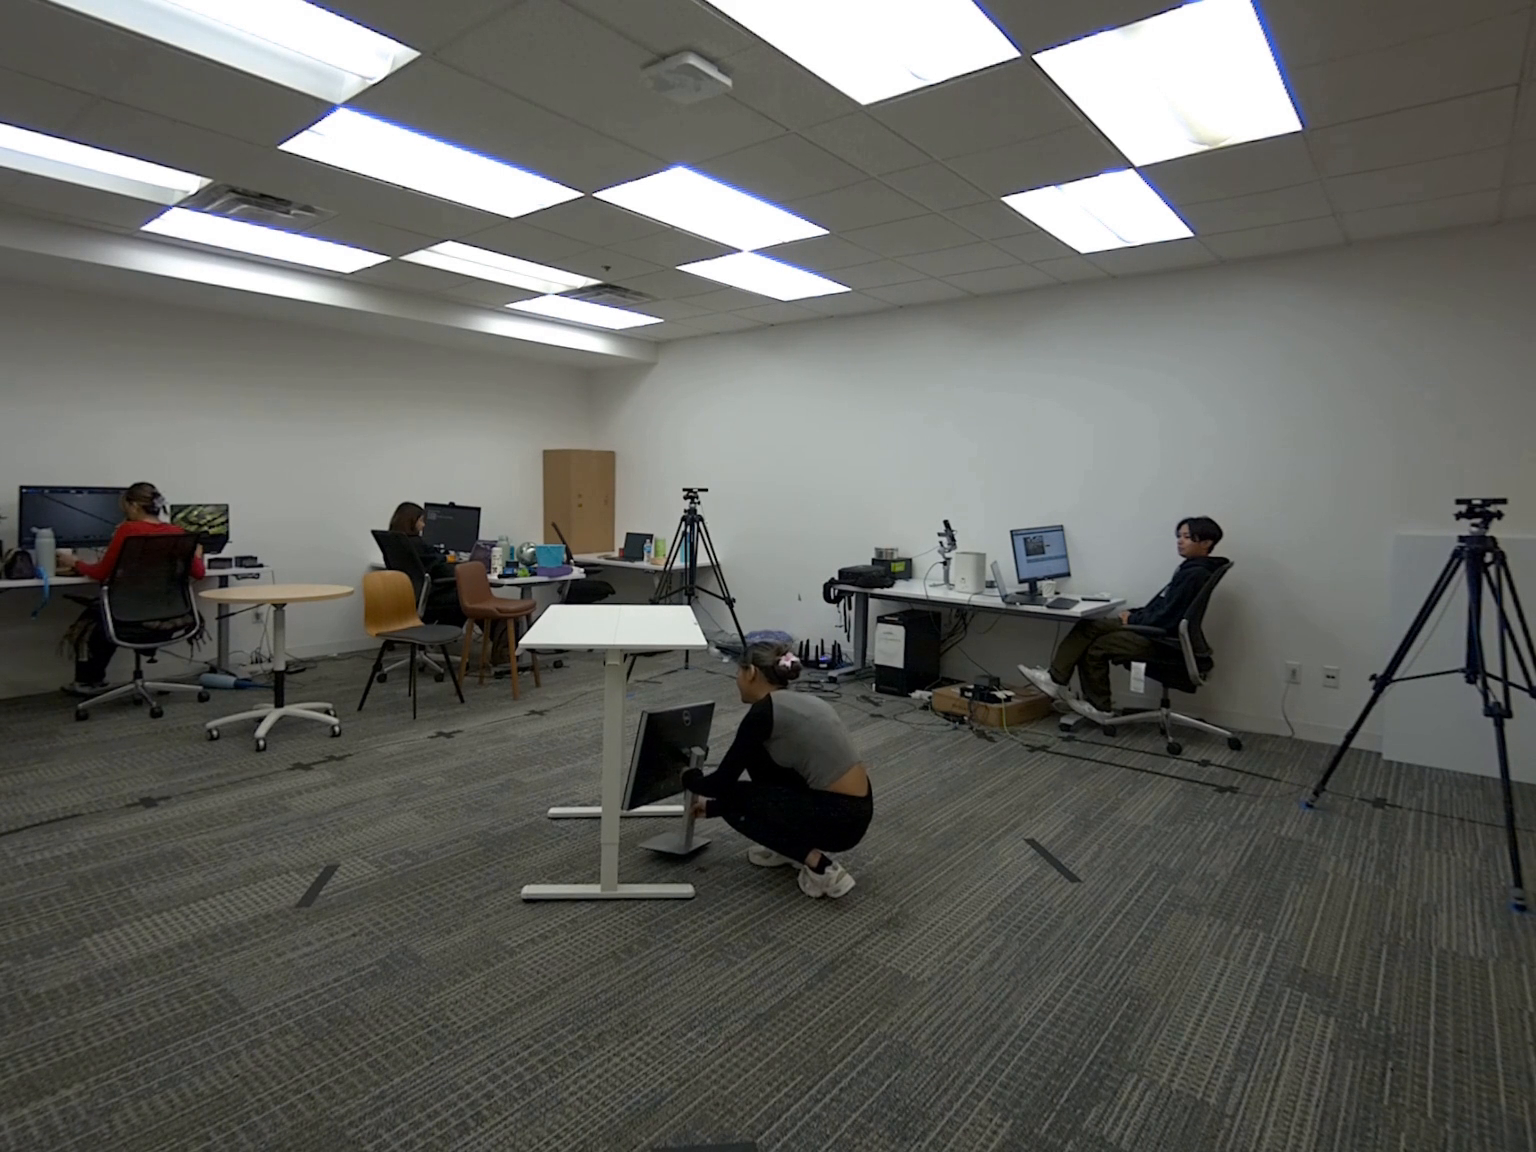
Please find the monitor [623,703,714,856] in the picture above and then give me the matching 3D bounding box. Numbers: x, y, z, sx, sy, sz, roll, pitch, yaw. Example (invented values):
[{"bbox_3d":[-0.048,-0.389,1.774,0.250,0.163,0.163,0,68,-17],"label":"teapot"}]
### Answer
[{"bbox_3d":[-0.354,0.769,3.280,0.191,0.525,0.524,-1,-5,23],"label":"monitor"}]
